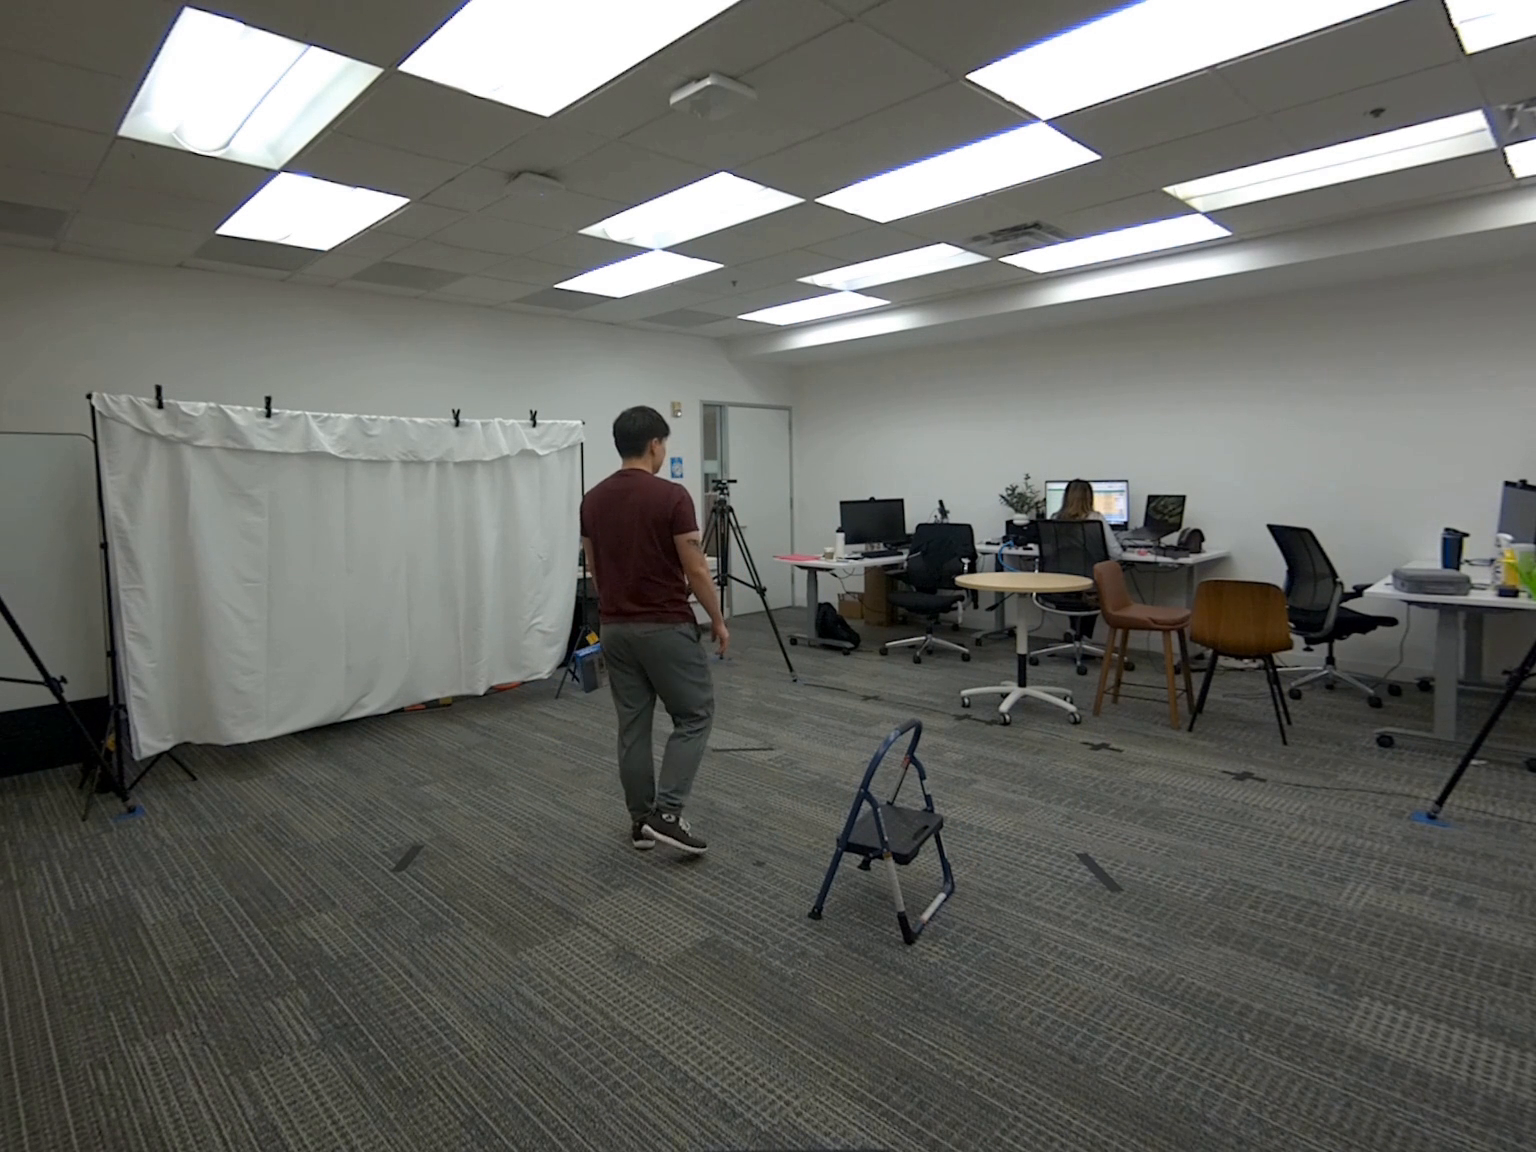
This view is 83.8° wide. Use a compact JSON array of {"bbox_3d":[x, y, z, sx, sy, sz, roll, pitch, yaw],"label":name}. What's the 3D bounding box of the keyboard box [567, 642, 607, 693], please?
[{"bbox_3d":[-0.585,0.335,3.557,0.430,0.172,0.061,-20,24,-30],"label":"keyboard box"}]
